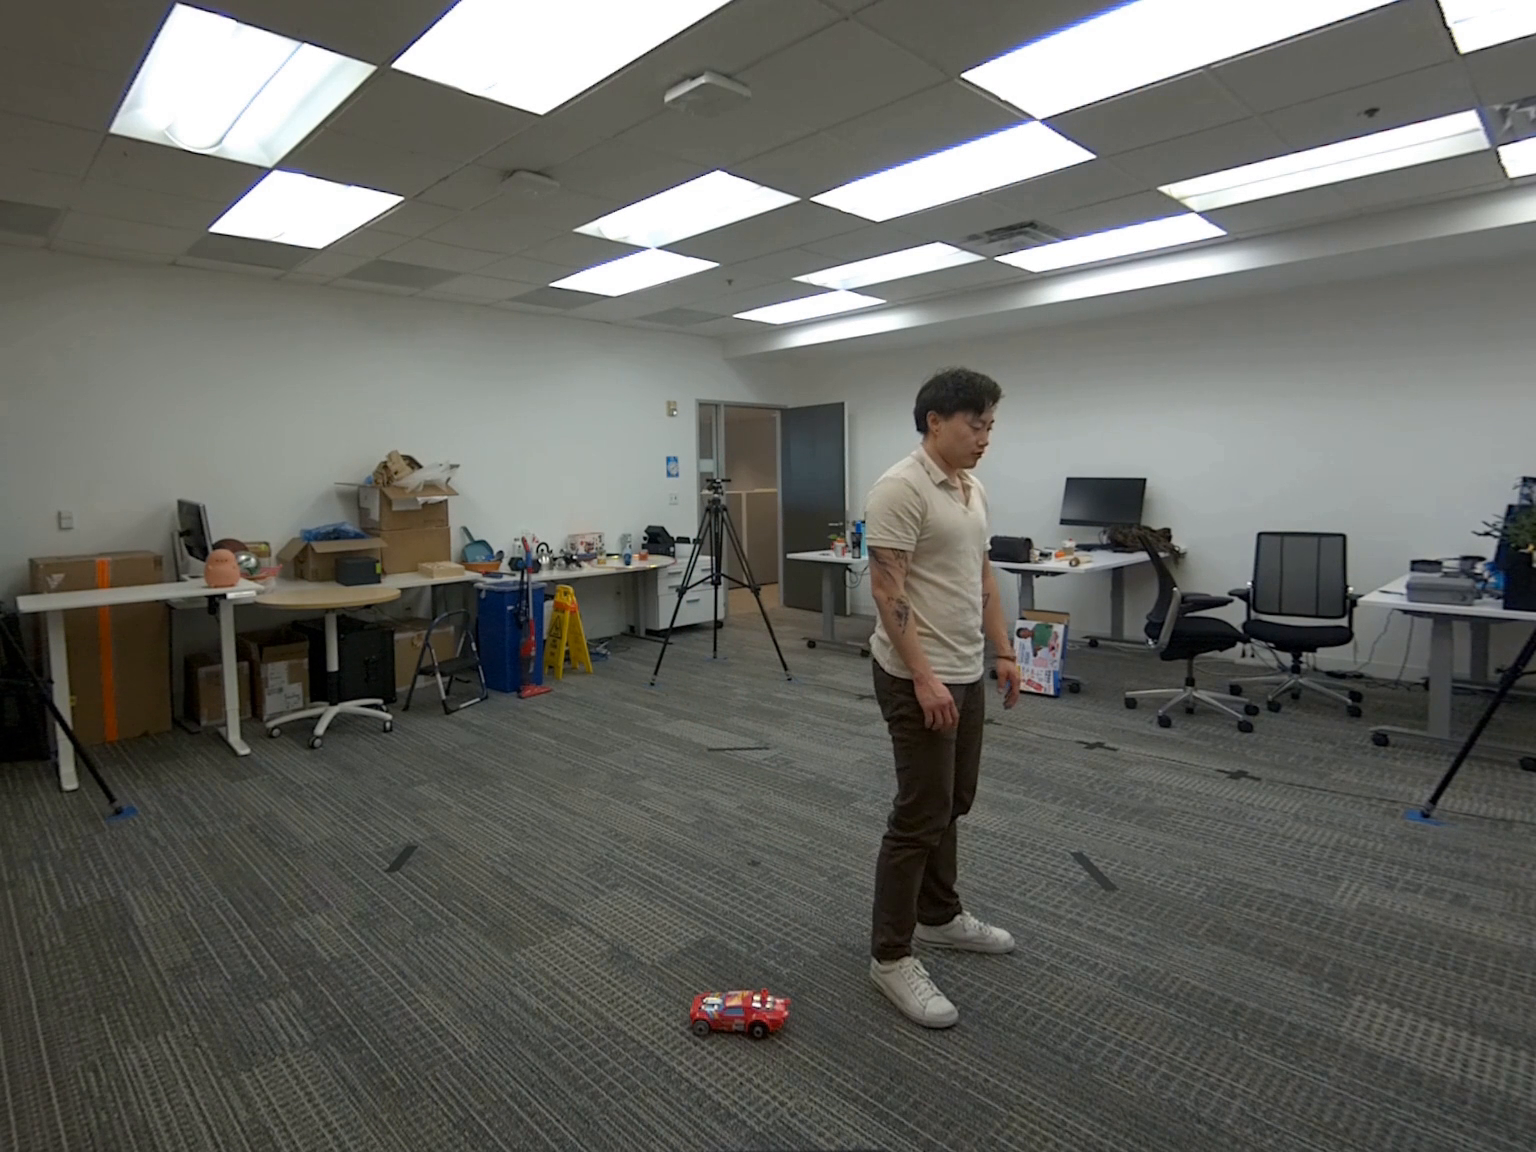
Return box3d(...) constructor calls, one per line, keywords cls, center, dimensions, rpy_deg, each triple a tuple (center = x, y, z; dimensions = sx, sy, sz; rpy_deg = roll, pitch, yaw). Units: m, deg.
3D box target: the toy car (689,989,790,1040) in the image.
box3d(cls="toy car", center=(-0.059, 1.123, 2.183), dimensions=(0.256, 0.083, 0.130), rpy_deg=(-12, 5, 9))
